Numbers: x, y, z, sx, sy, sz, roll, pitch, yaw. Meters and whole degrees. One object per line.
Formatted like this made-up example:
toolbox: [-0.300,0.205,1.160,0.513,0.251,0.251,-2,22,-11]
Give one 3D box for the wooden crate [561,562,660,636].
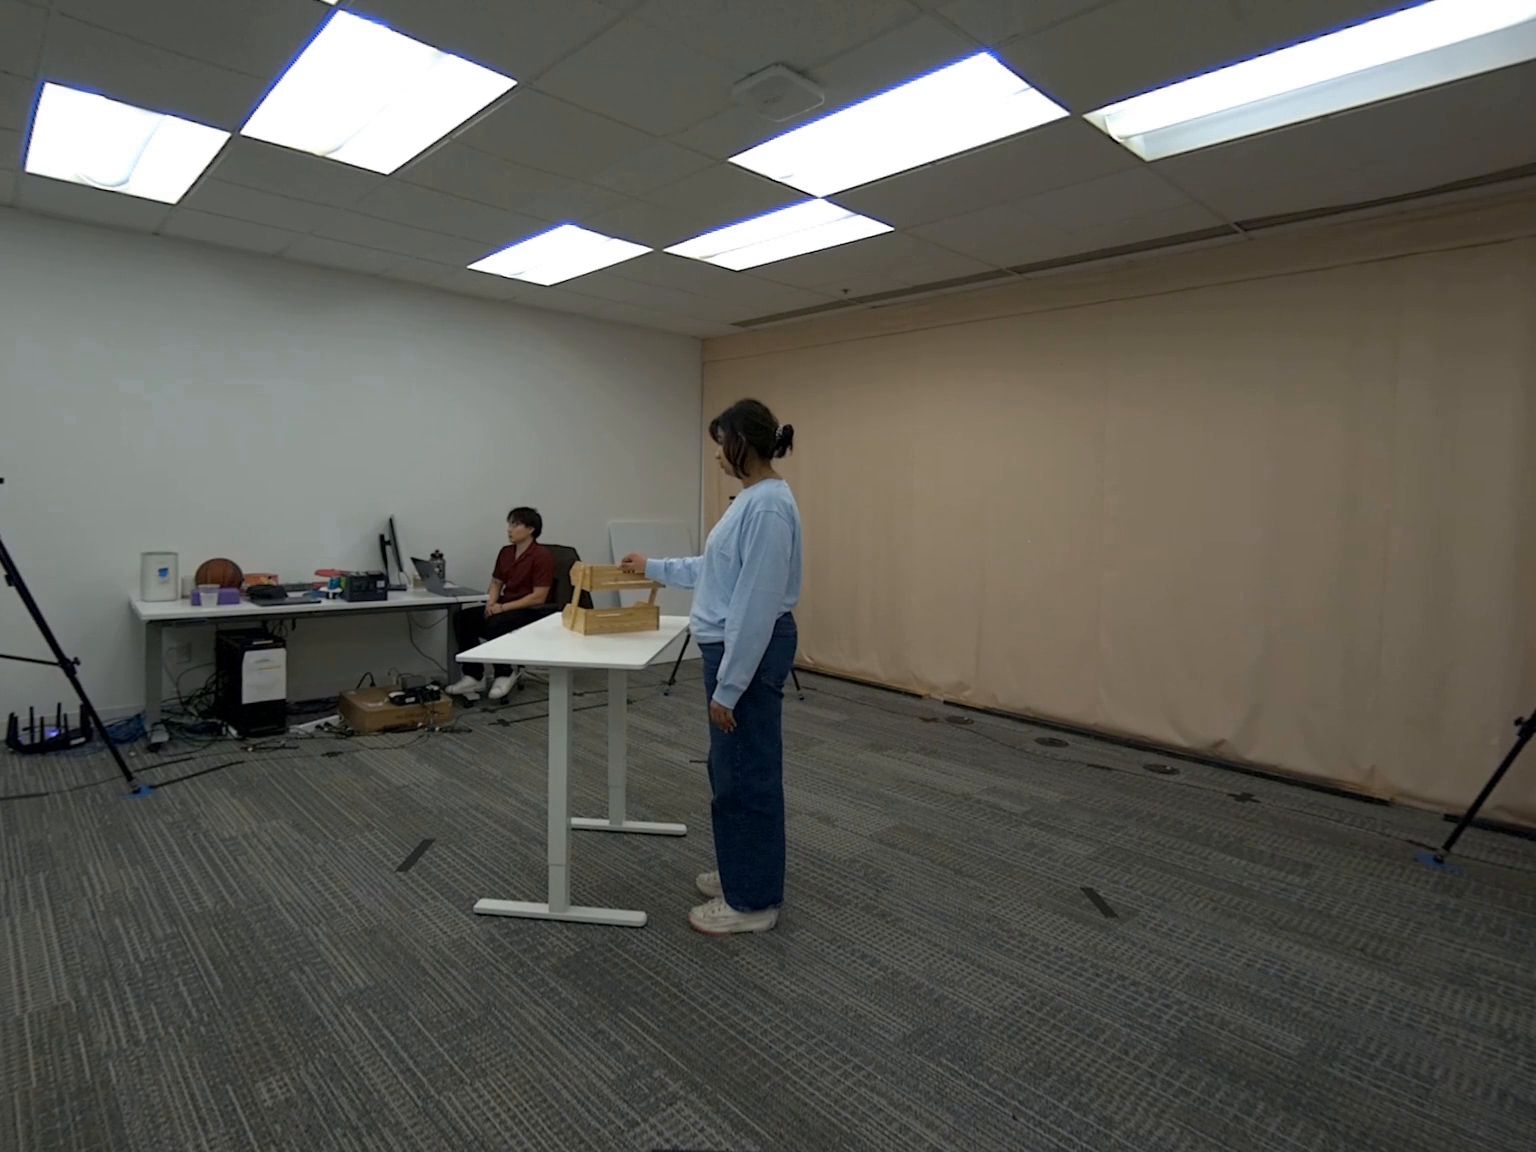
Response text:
wooden crate: [-0.602,0.071,3.203,0.318,0.272,0.309,-2,6,-31]
